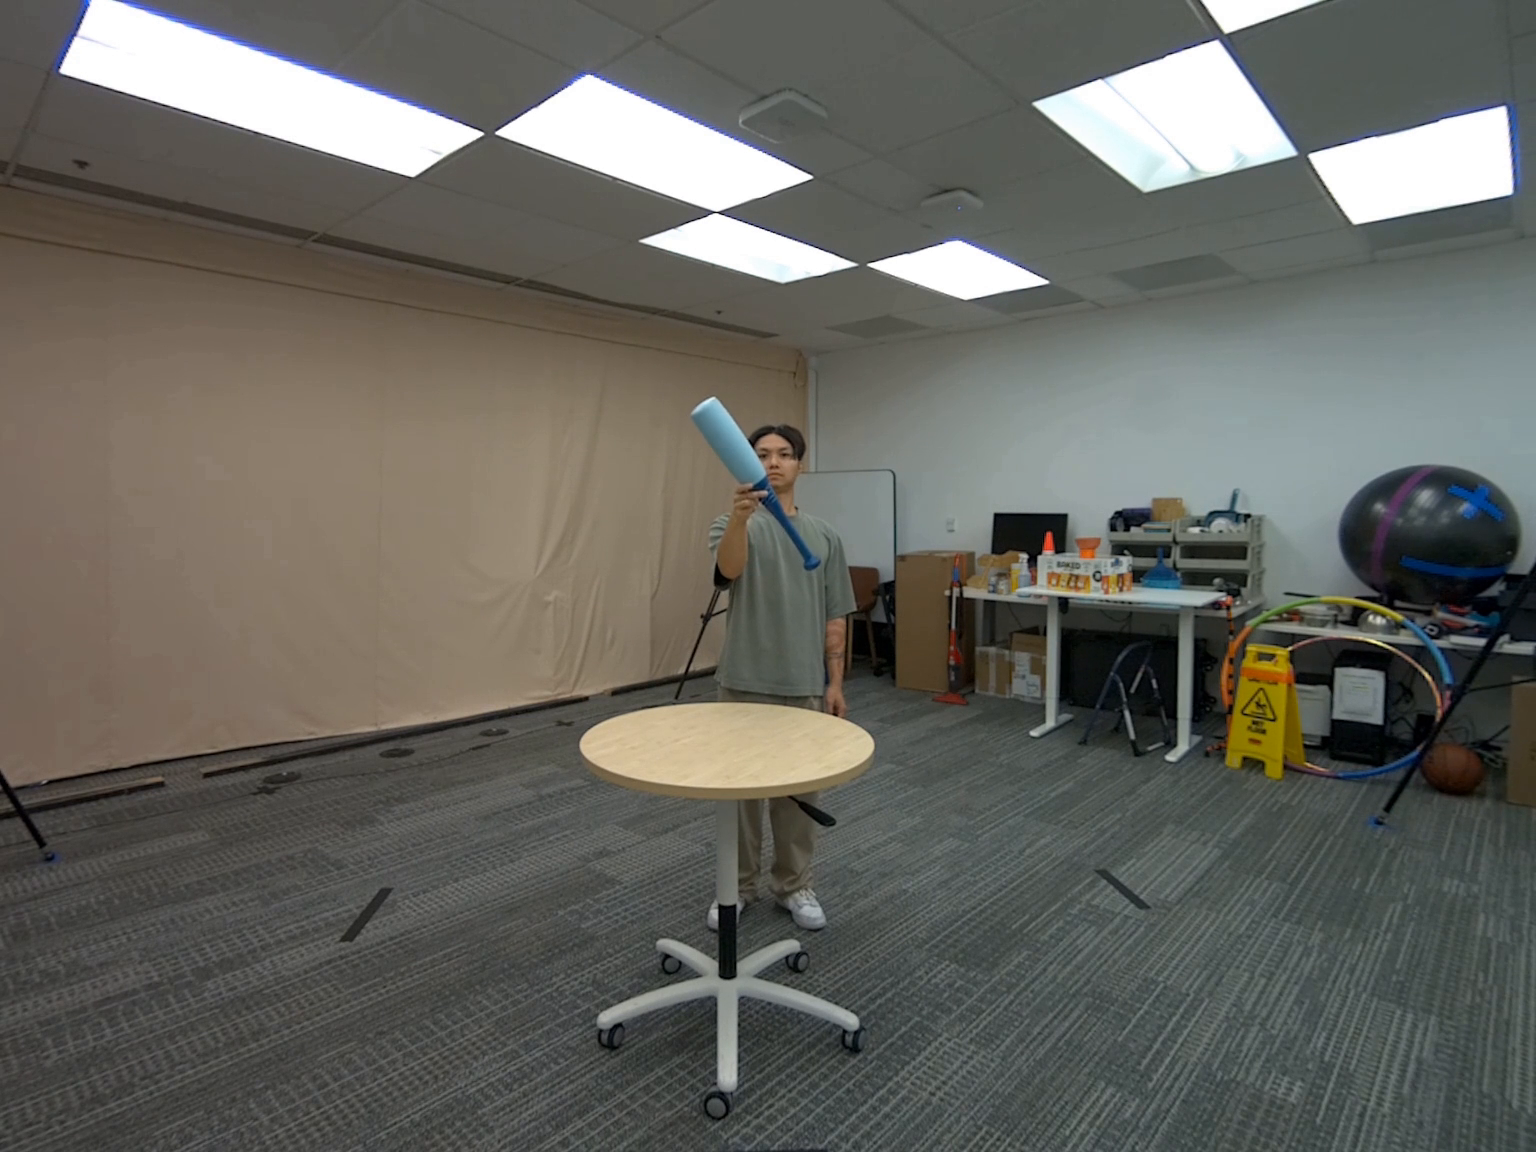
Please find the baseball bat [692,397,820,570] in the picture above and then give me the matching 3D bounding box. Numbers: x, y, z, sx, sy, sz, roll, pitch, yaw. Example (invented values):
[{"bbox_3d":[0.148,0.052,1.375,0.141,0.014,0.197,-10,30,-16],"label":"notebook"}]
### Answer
[{"bbox_3d":[-0.022,-0.236,2.243,0.089,0.535,0.090,-33,13,7],"label":"baseball bat"}]
